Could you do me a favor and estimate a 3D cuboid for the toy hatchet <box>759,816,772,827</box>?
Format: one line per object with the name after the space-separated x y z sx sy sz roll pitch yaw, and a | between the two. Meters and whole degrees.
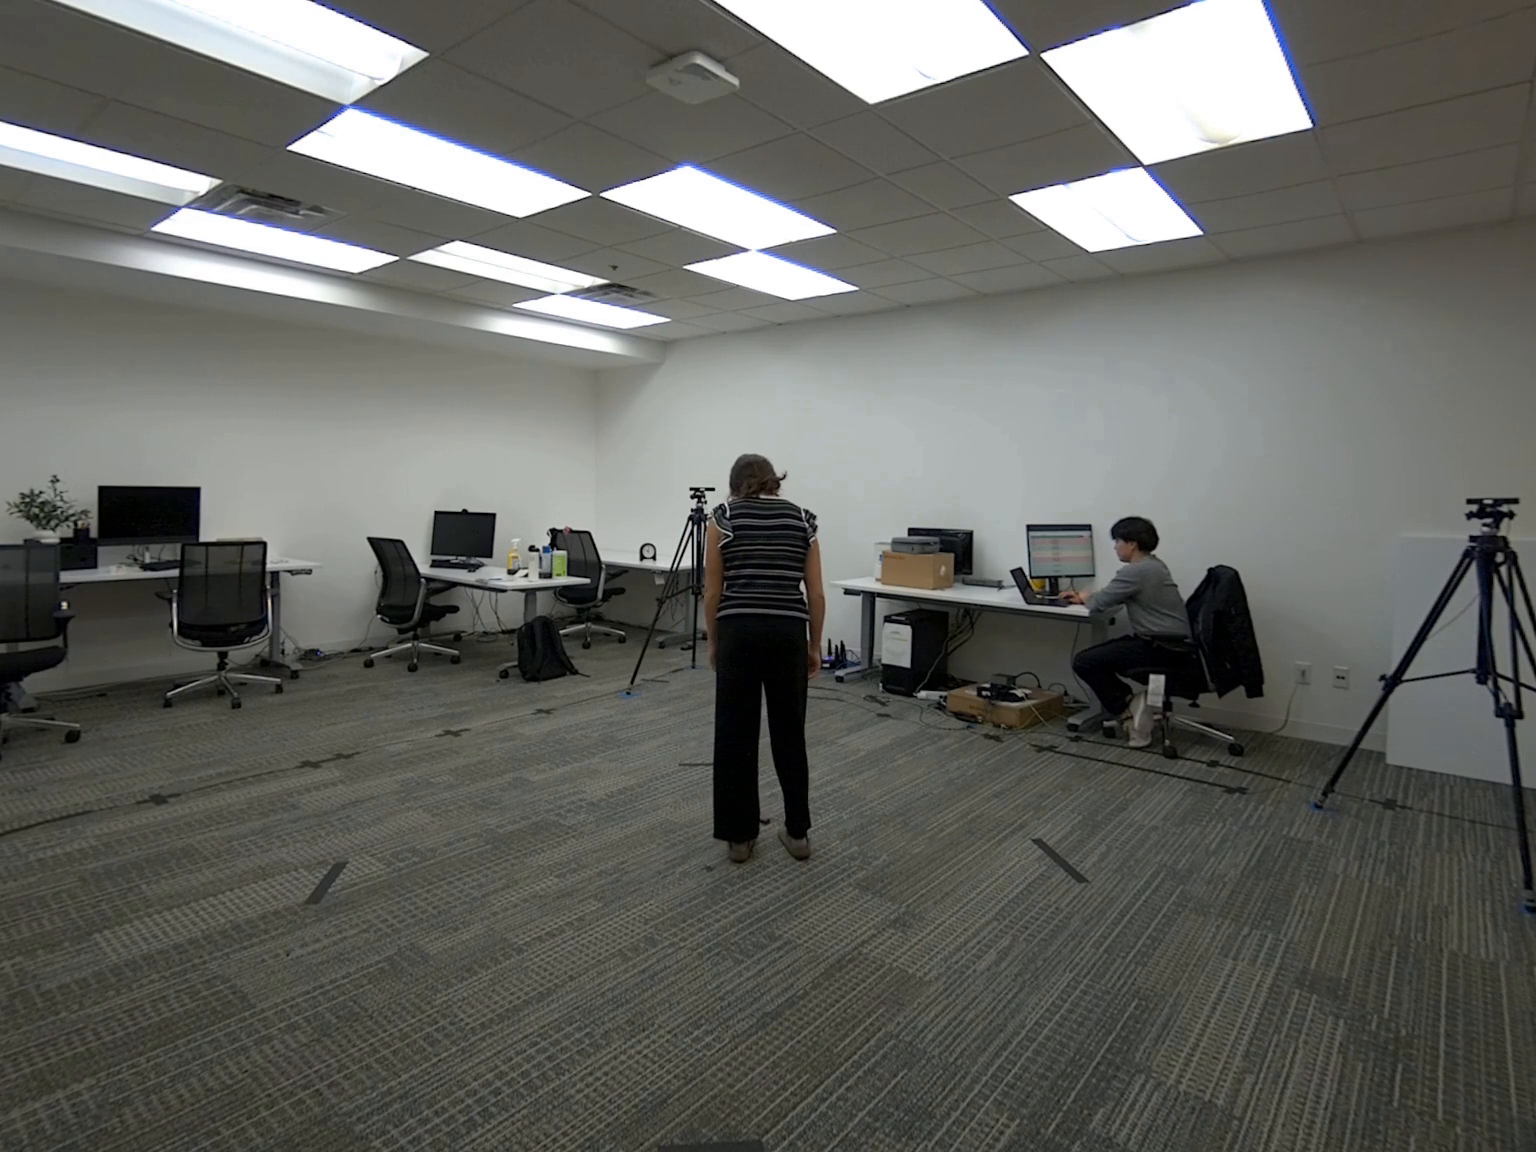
-0.070 0.993 3.666 0.127 0.029 0.280 -1 8 -40 | toy hatchet
